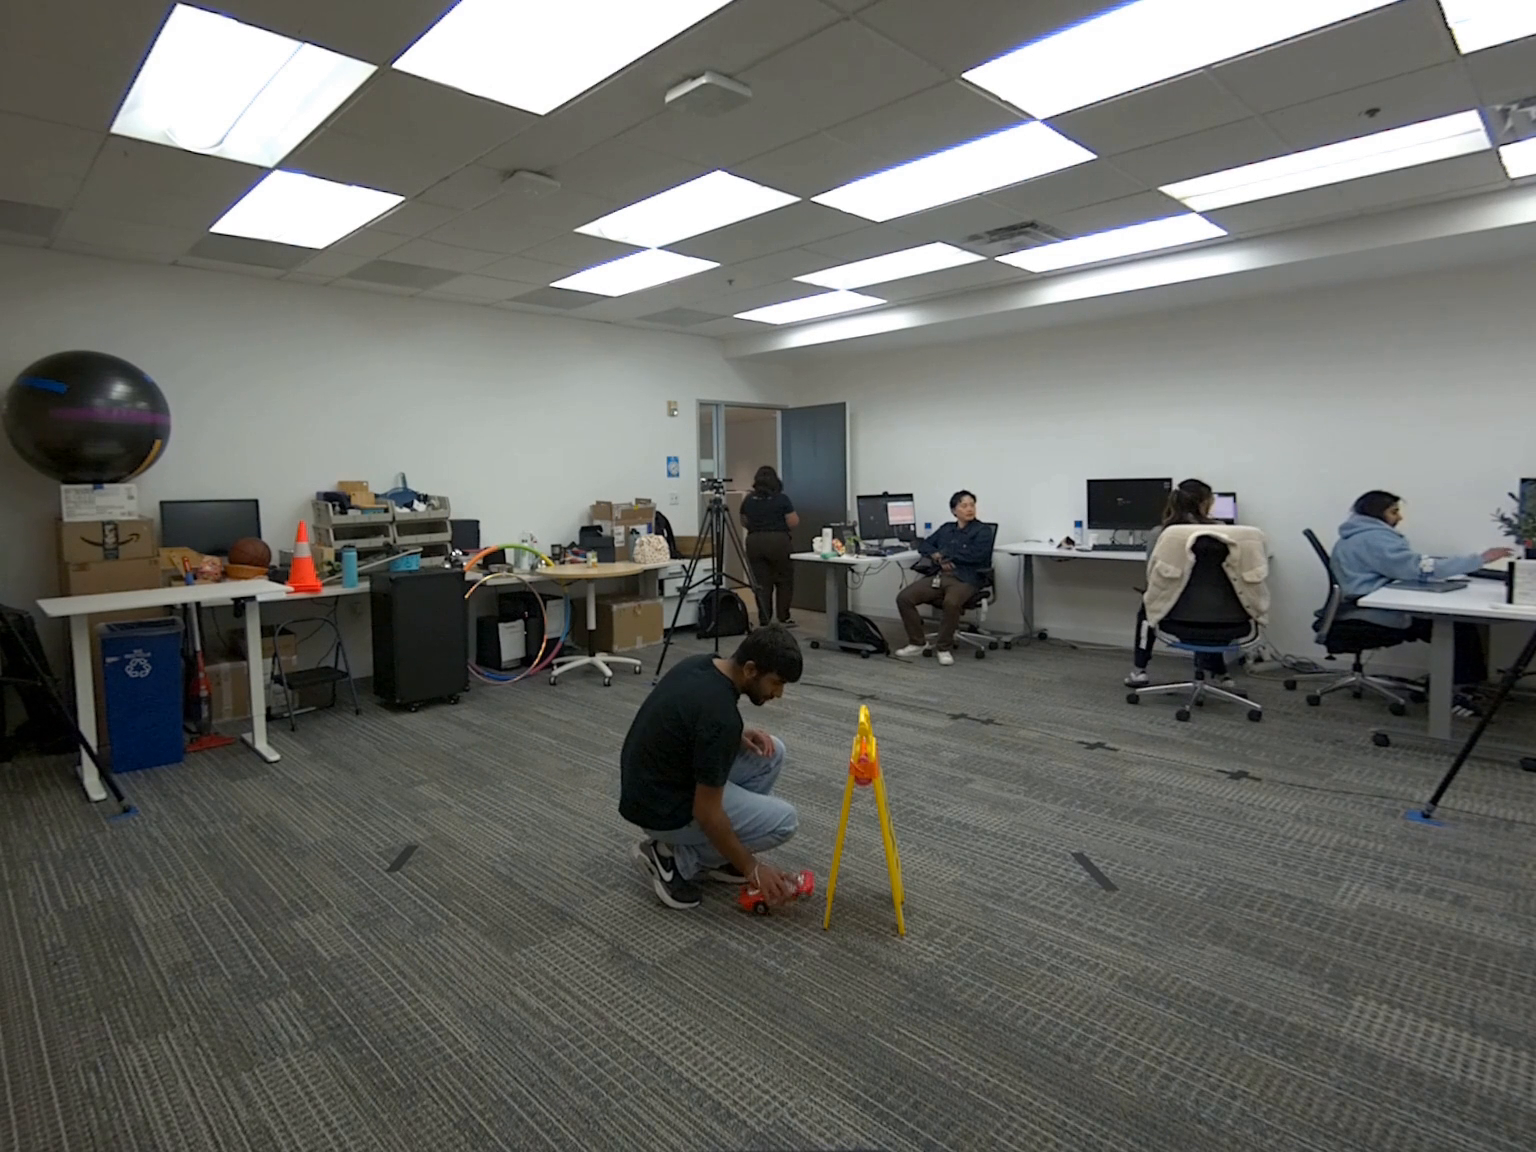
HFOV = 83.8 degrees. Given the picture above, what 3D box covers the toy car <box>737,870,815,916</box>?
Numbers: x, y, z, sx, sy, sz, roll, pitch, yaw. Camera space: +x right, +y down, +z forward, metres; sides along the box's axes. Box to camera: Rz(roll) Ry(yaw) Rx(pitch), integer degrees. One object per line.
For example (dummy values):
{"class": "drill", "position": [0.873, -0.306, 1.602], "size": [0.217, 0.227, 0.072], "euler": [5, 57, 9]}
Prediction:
{"class": "toy car", "position": [0.023, 1.031, 2.766], "size": [0.257, 0.082, 0.131], "euler": [0, 16, 8]}
